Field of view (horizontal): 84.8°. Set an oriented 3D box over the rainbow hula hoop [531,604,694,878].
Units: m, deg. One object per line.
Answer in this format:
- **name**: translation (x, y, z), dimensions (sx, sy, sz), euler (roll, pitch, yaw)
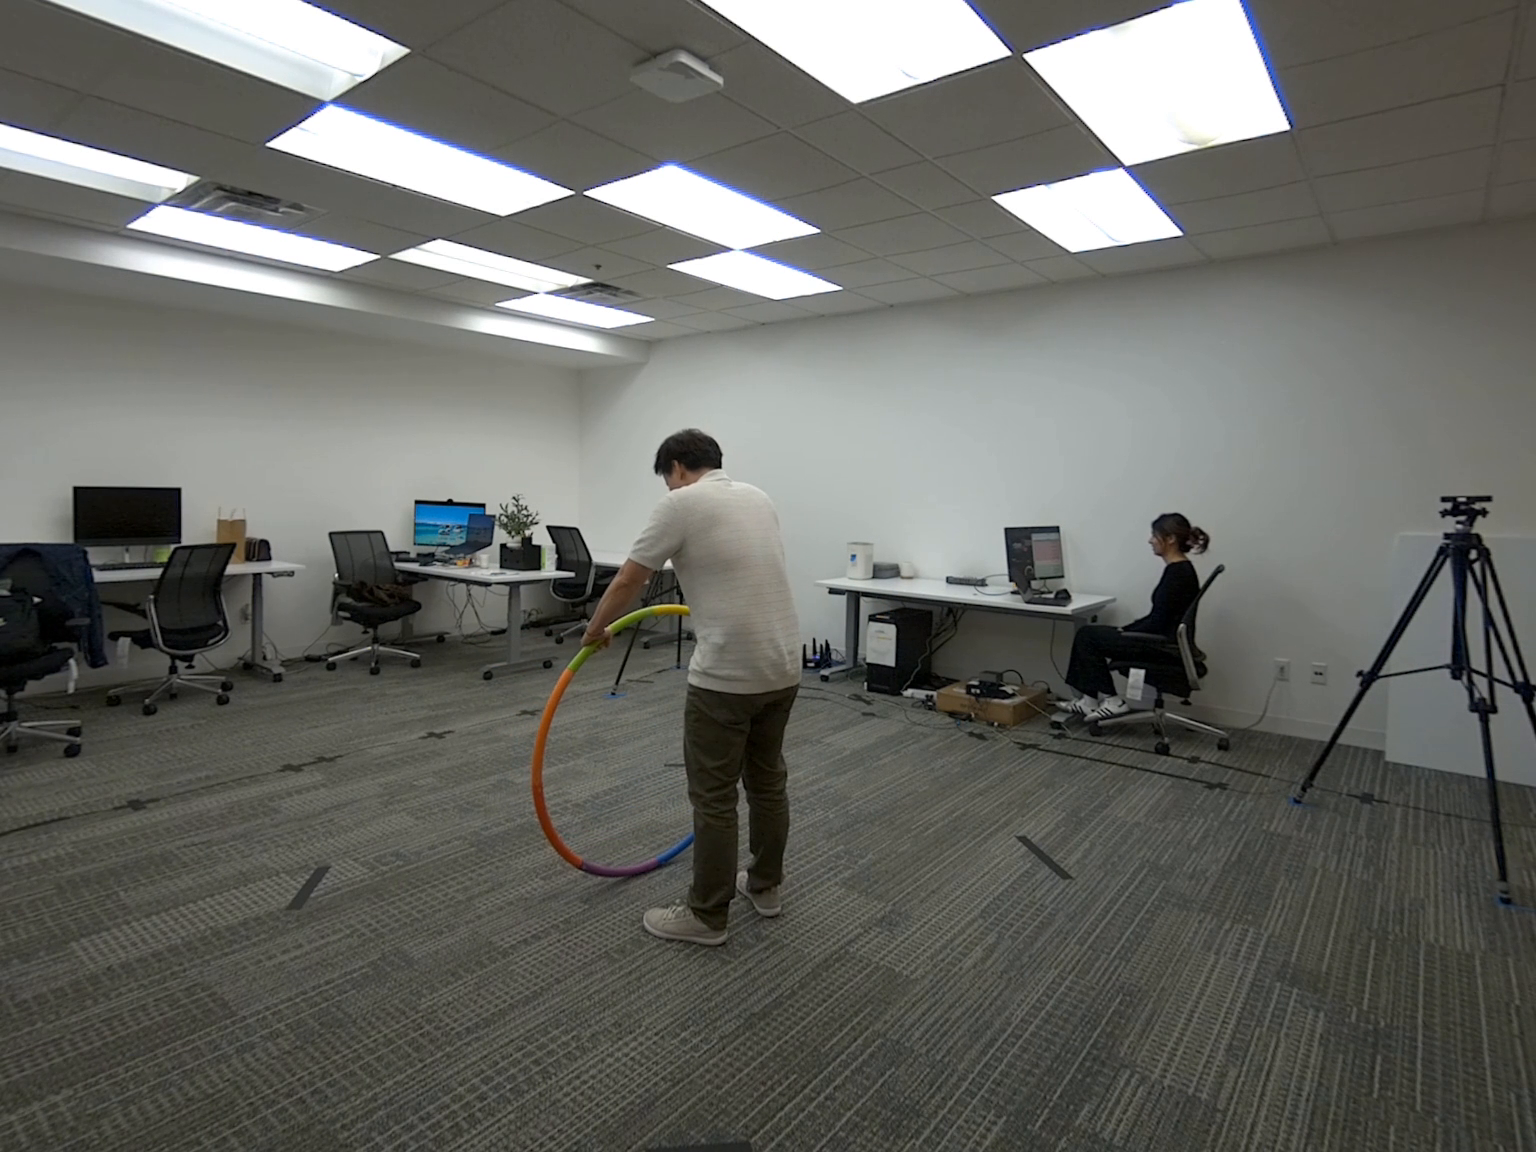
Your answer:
- **rainbow hula hoop**: translation (-0.418, 0.586, 3.035), dimensions (0.949, 0.973, 0.037), euler (-3, 8, -45)
